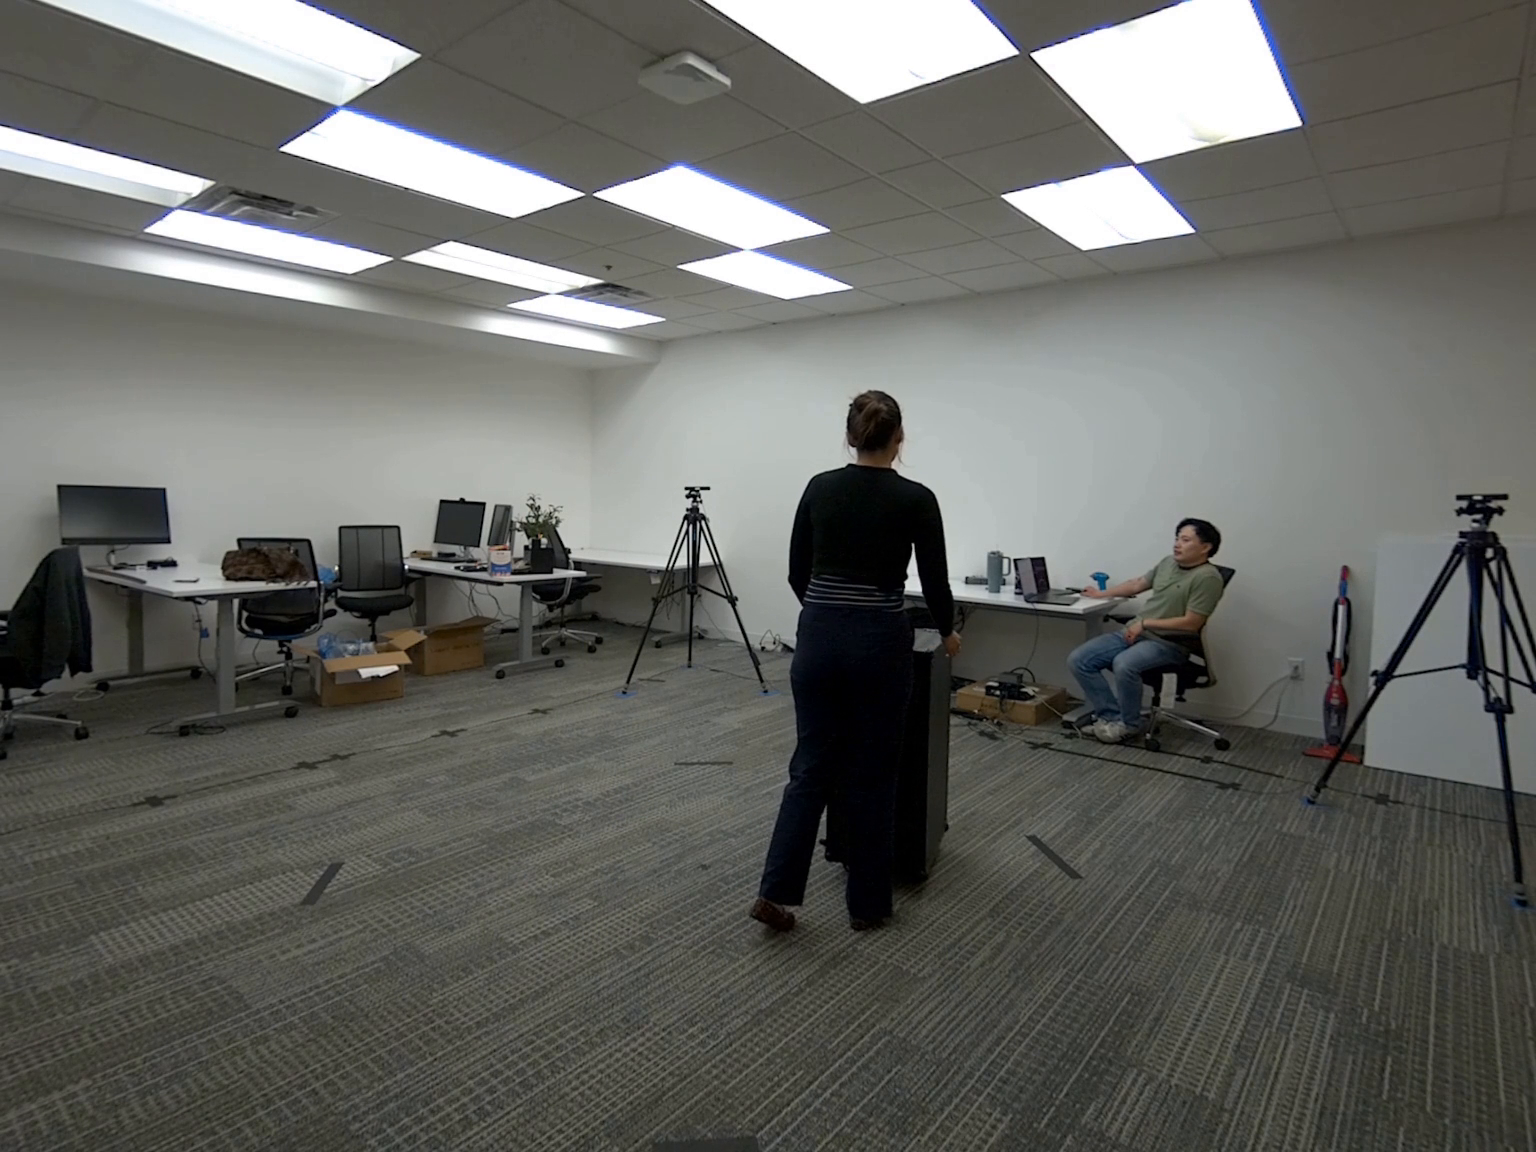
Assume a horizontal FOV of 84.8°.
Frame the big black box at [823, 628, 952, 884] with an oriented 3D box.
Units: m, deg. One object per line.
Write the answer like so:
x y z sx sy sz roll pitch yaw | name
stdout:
0.438 0.651 3.162 0.405 0.858 0.511 2 4 21 | big black box
